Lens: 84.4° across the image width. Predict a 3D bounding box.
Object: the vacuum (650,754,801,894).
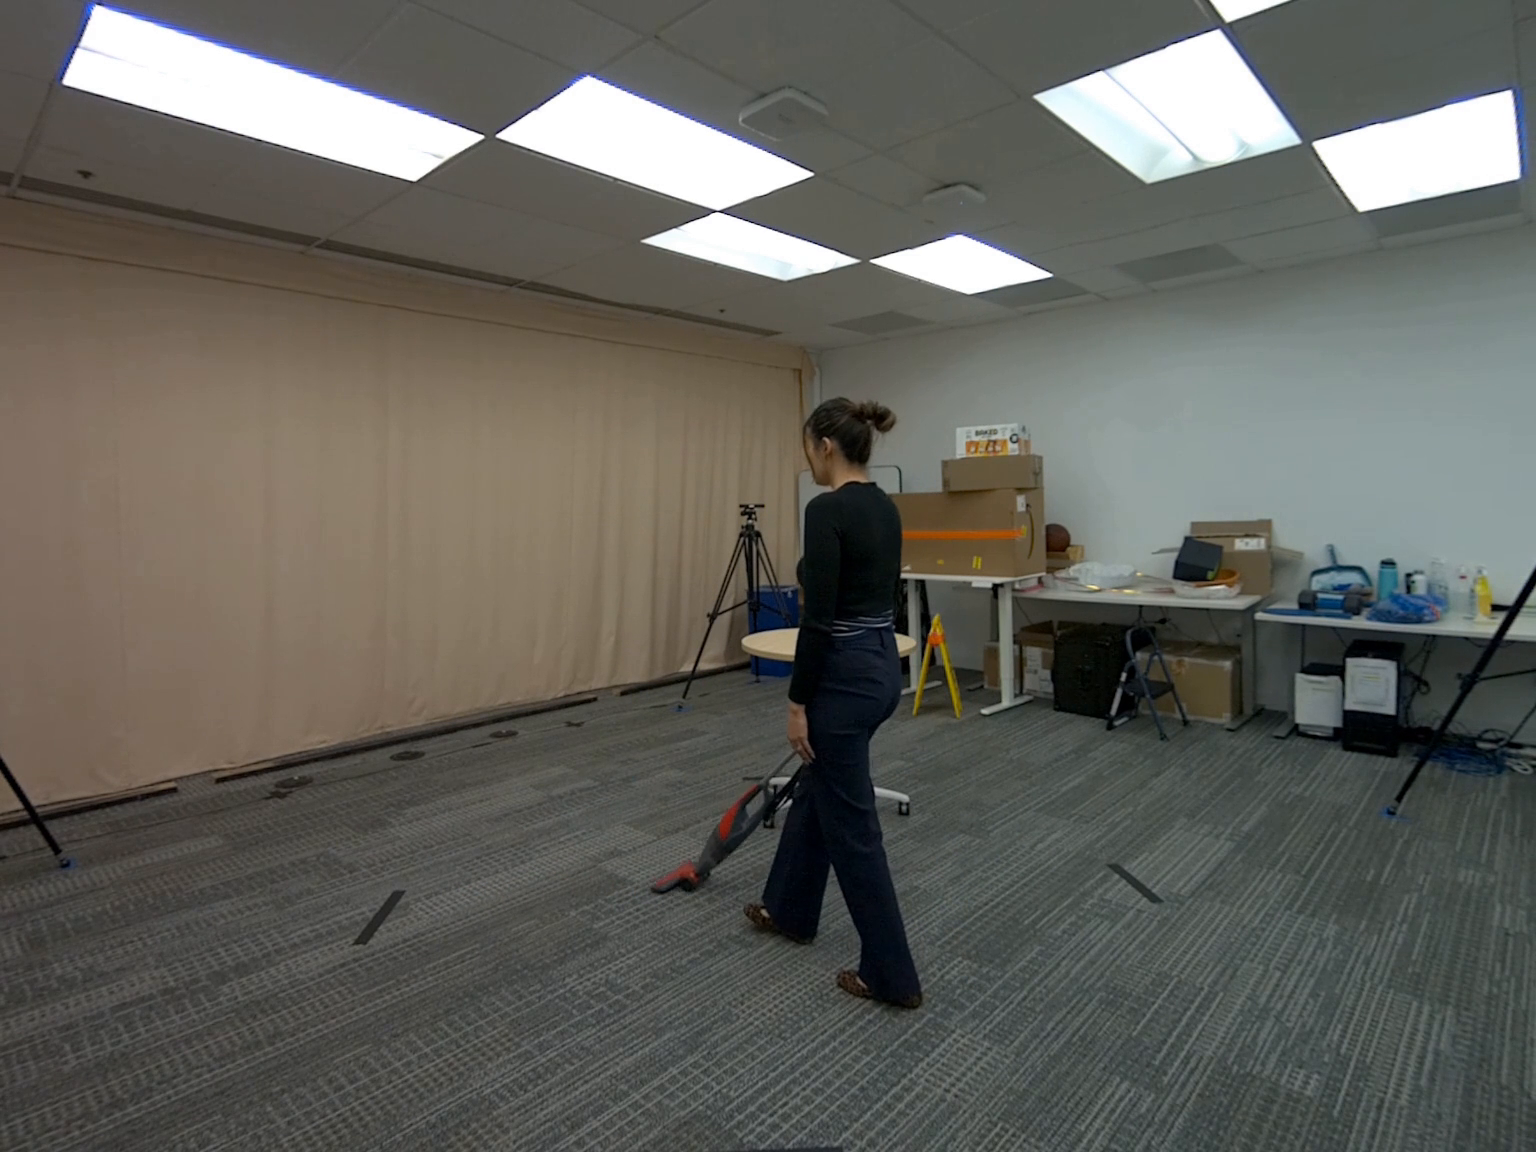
[{"bbox_3d":[-0.011,0.761,2.925,0.147,1.053,0.246,47,23,17],"label":"vacuum"}]
